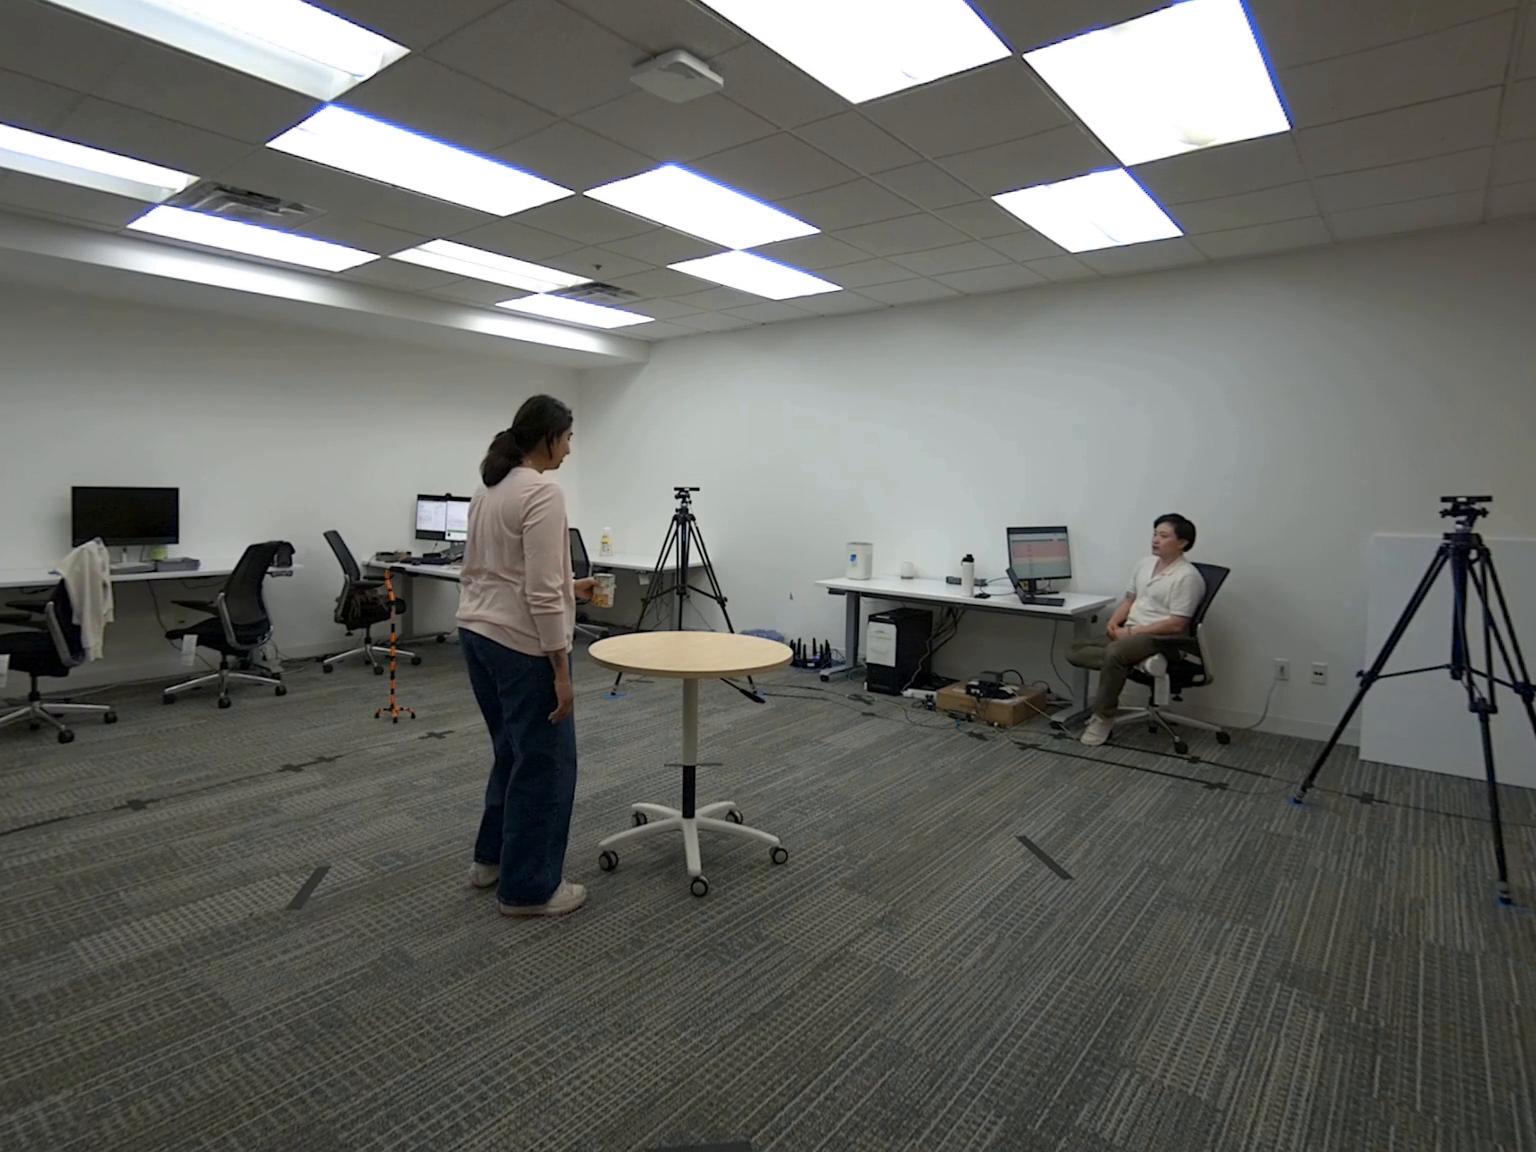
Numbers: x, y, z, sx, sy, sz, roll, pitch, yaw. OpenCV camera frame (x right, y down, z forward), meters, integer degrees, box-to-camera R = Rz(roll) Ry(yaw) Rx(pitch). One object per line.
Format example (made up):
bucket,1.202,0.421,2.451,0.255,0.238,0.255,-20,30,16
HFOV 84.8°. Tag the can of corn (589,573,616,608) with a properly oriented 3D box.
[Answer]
can of corn,-0.606,0.049,3.062,0.074,0.111,0.074,5,2,-2
